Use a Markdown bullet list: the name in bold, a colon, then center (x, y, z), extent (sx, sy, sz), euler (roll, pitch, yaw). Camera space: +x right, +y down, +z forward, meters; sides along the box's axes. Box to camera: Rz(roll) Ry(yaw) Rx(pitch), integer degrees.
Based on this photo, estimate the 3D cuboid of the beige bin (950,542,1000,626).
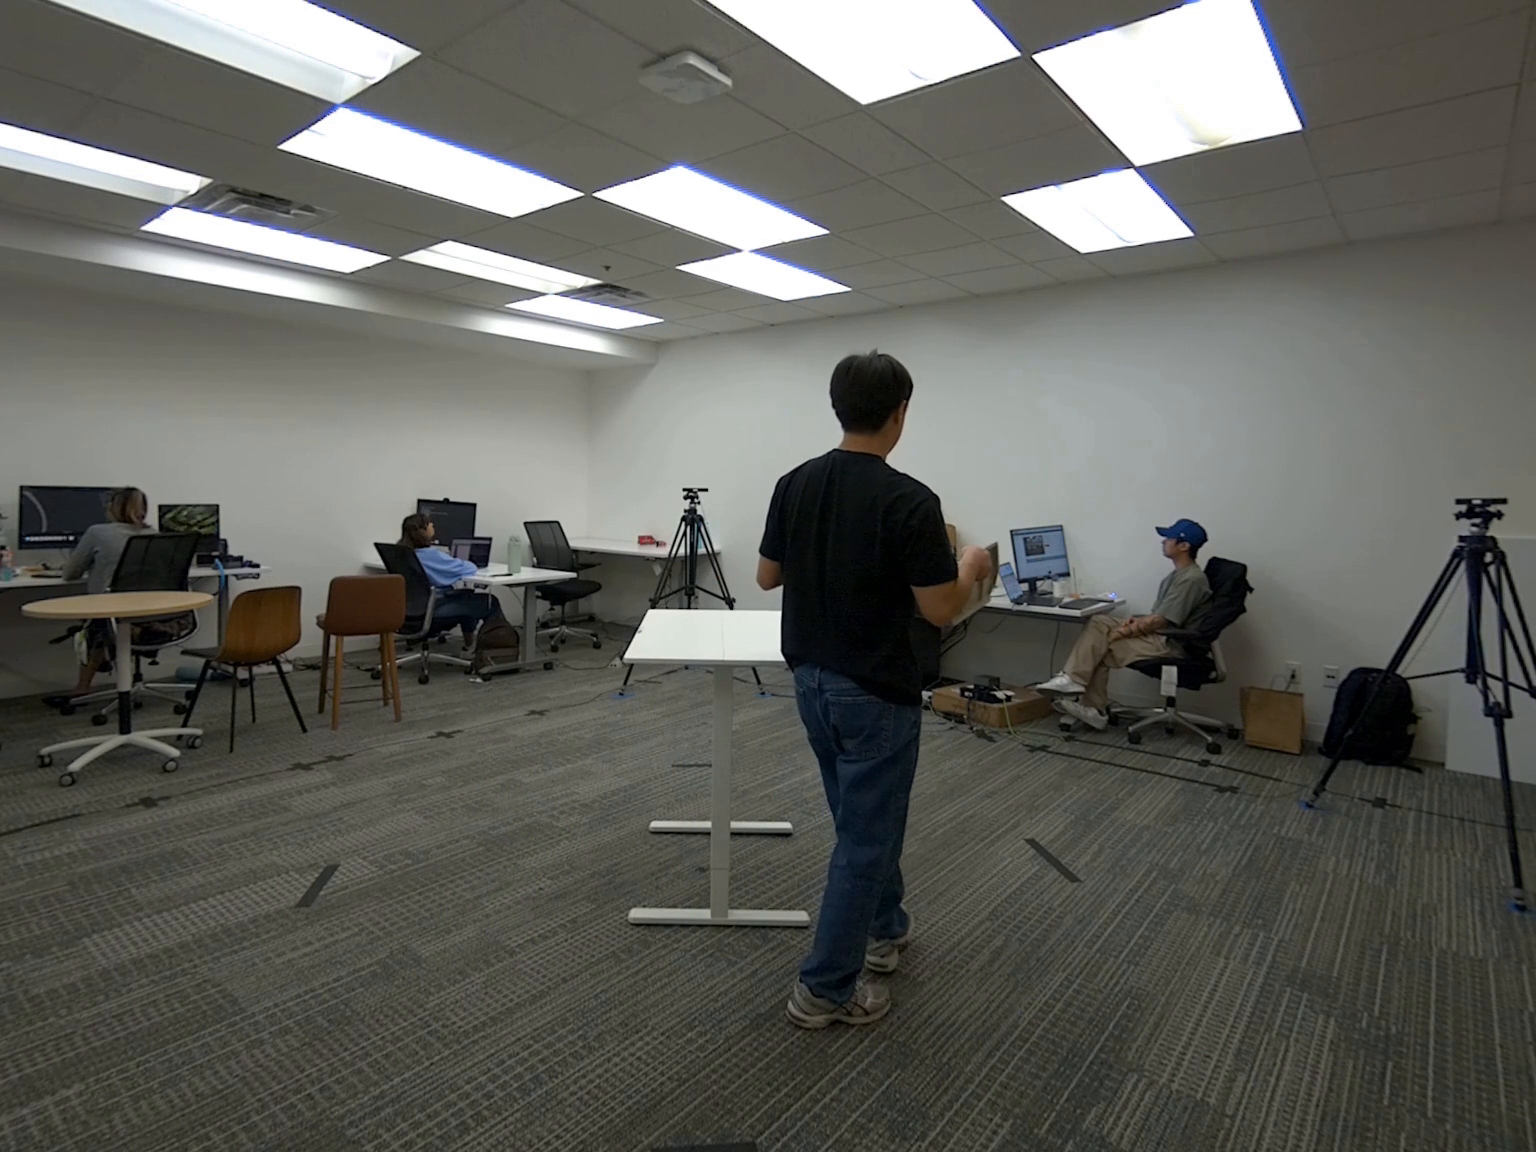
- **beige bin**: center (0.415, -0.013, 2.522), extent (0.436, 0.186, 0.370), euler (10, 17, 32)
